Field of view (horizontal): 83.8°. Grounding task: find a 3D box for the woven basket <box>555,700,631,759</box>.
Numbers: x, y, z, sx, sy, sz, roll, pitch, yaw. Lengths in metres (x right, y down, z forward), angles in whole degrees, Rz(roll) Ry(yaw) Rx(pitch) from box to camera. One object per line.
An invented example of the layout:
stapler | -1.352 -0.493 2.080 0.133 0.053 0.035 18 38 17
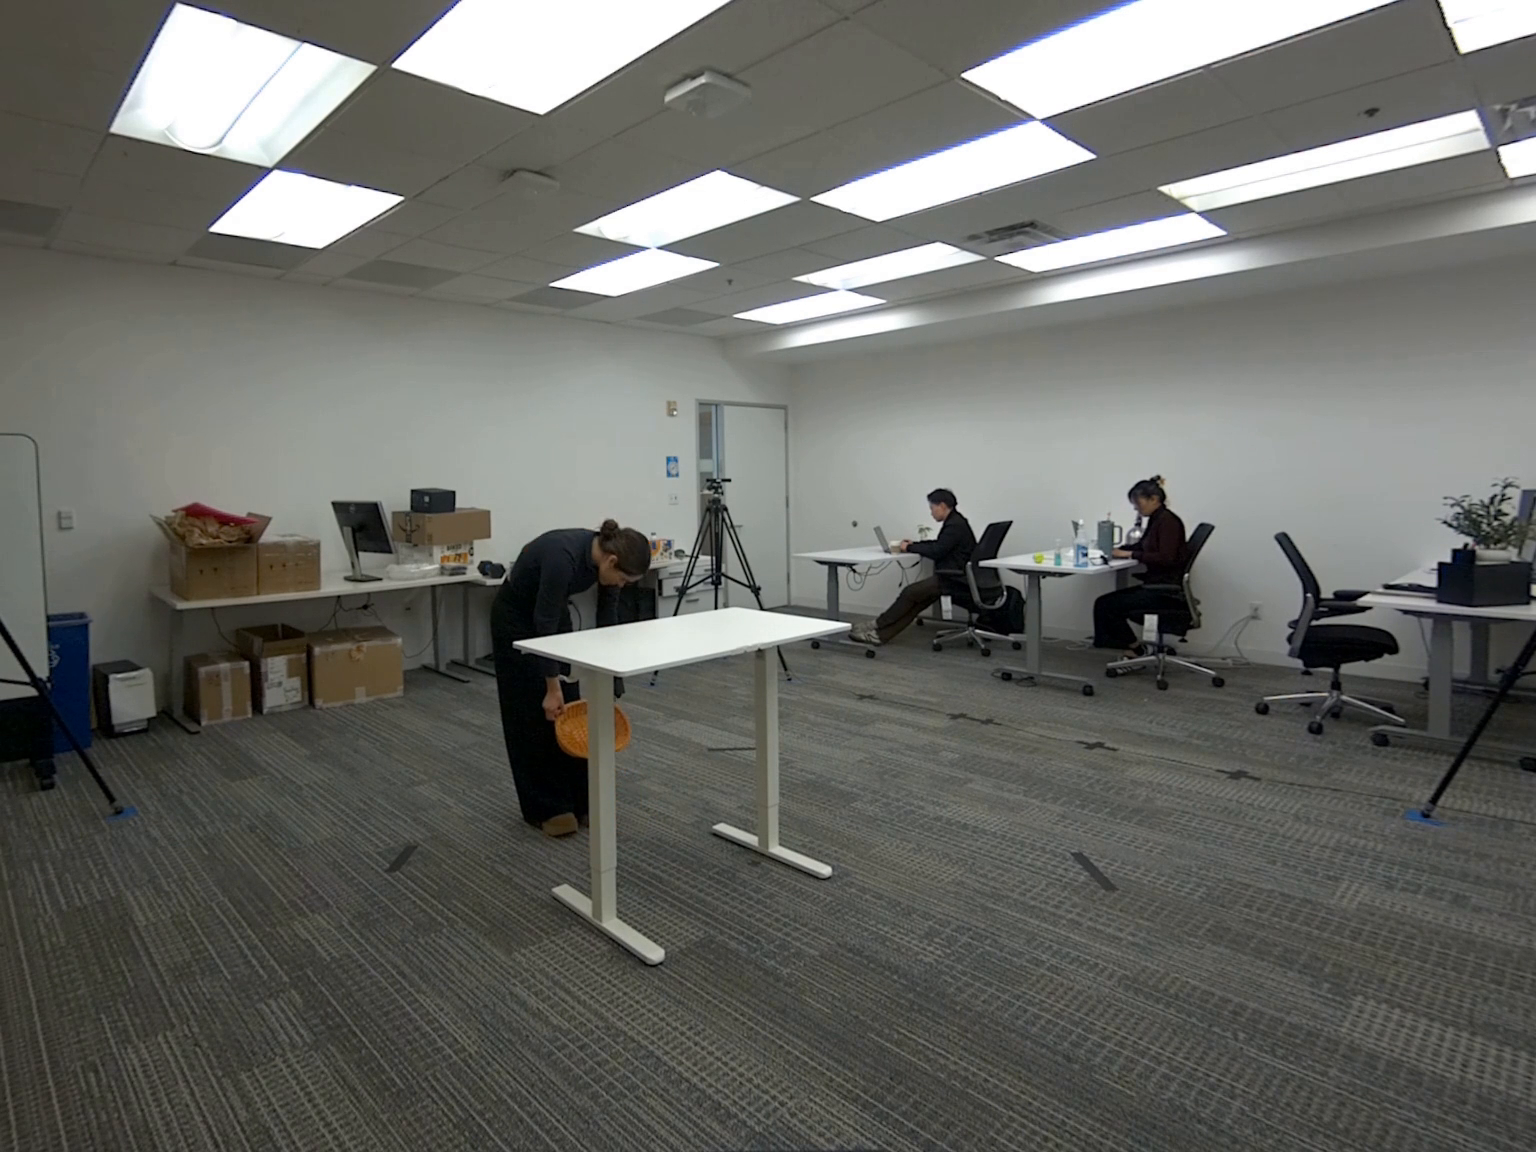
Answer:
woven basket | -0.697 0.604 3.394 0.341 0.259 0.073 -5 -33 -51
